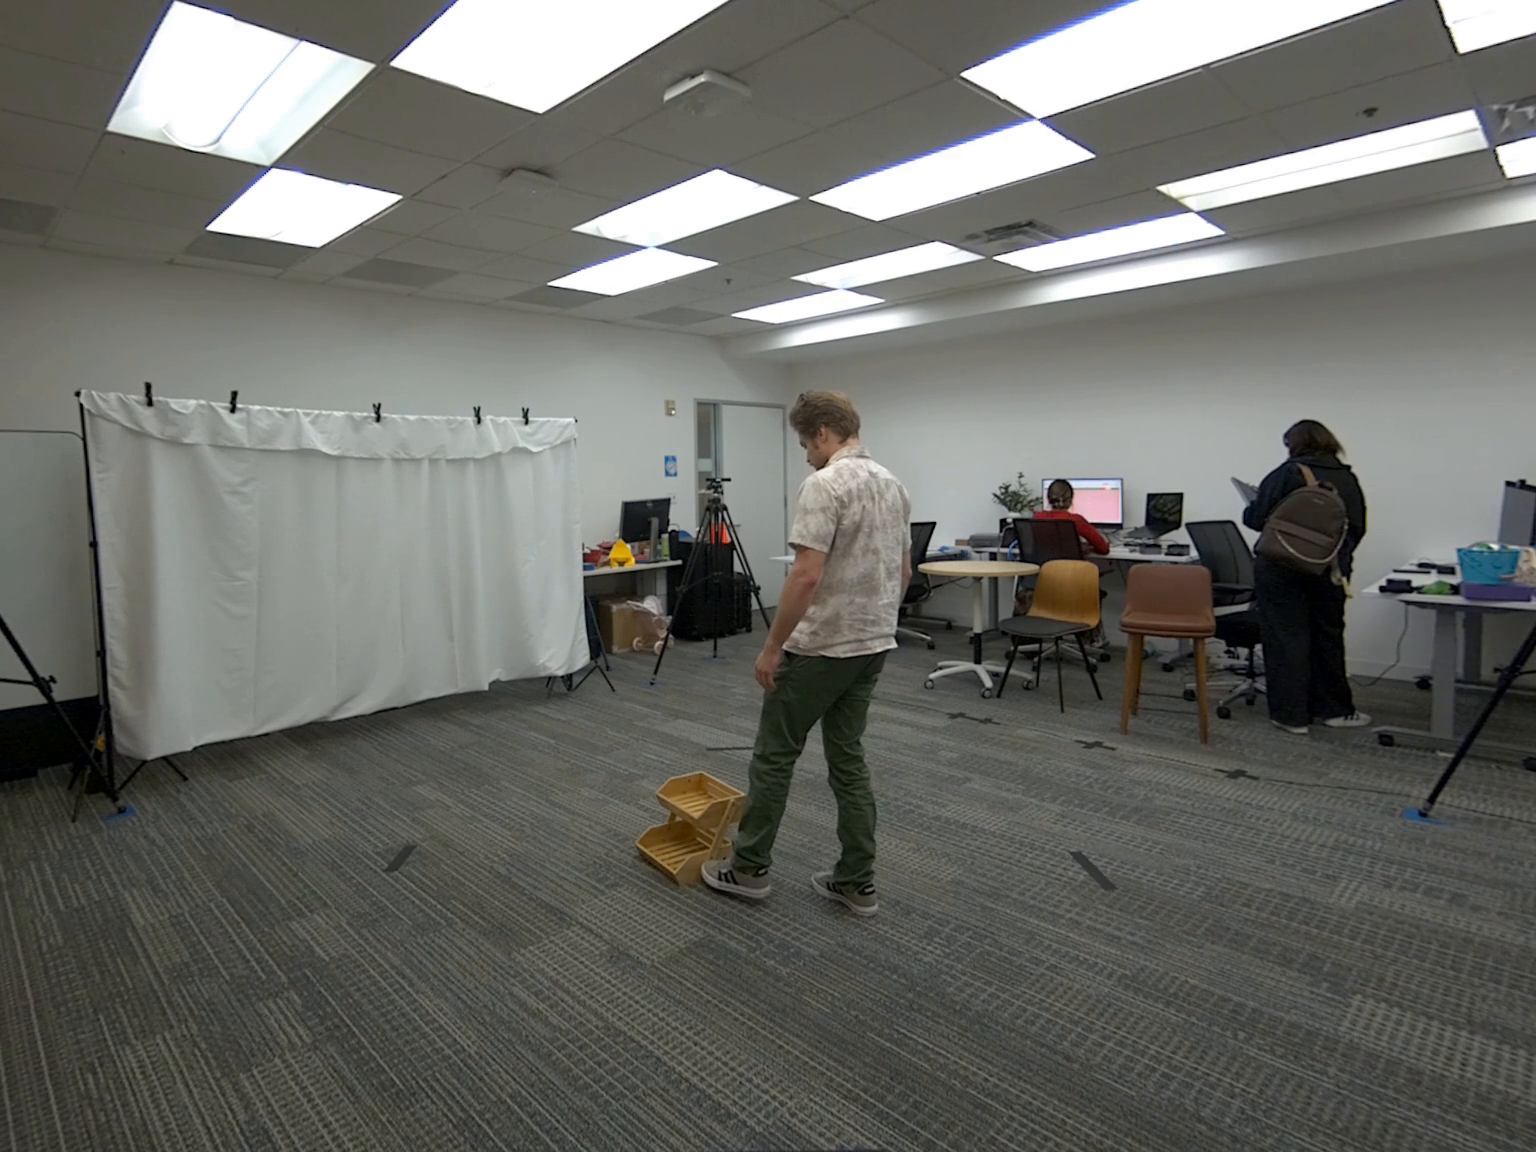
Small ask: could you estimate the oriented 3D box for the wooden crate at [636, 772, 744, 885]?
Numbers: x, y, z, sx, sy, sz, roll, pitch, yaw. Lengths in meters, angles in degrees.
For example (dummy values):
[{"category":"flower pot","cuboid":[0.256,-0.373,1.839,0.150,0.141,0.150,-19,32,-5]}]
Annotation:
[{"category":"wooden crate","cuboid":[-0.286,0.909,3.127,0.294,0.272,0.334,-3,6,-35]}]
